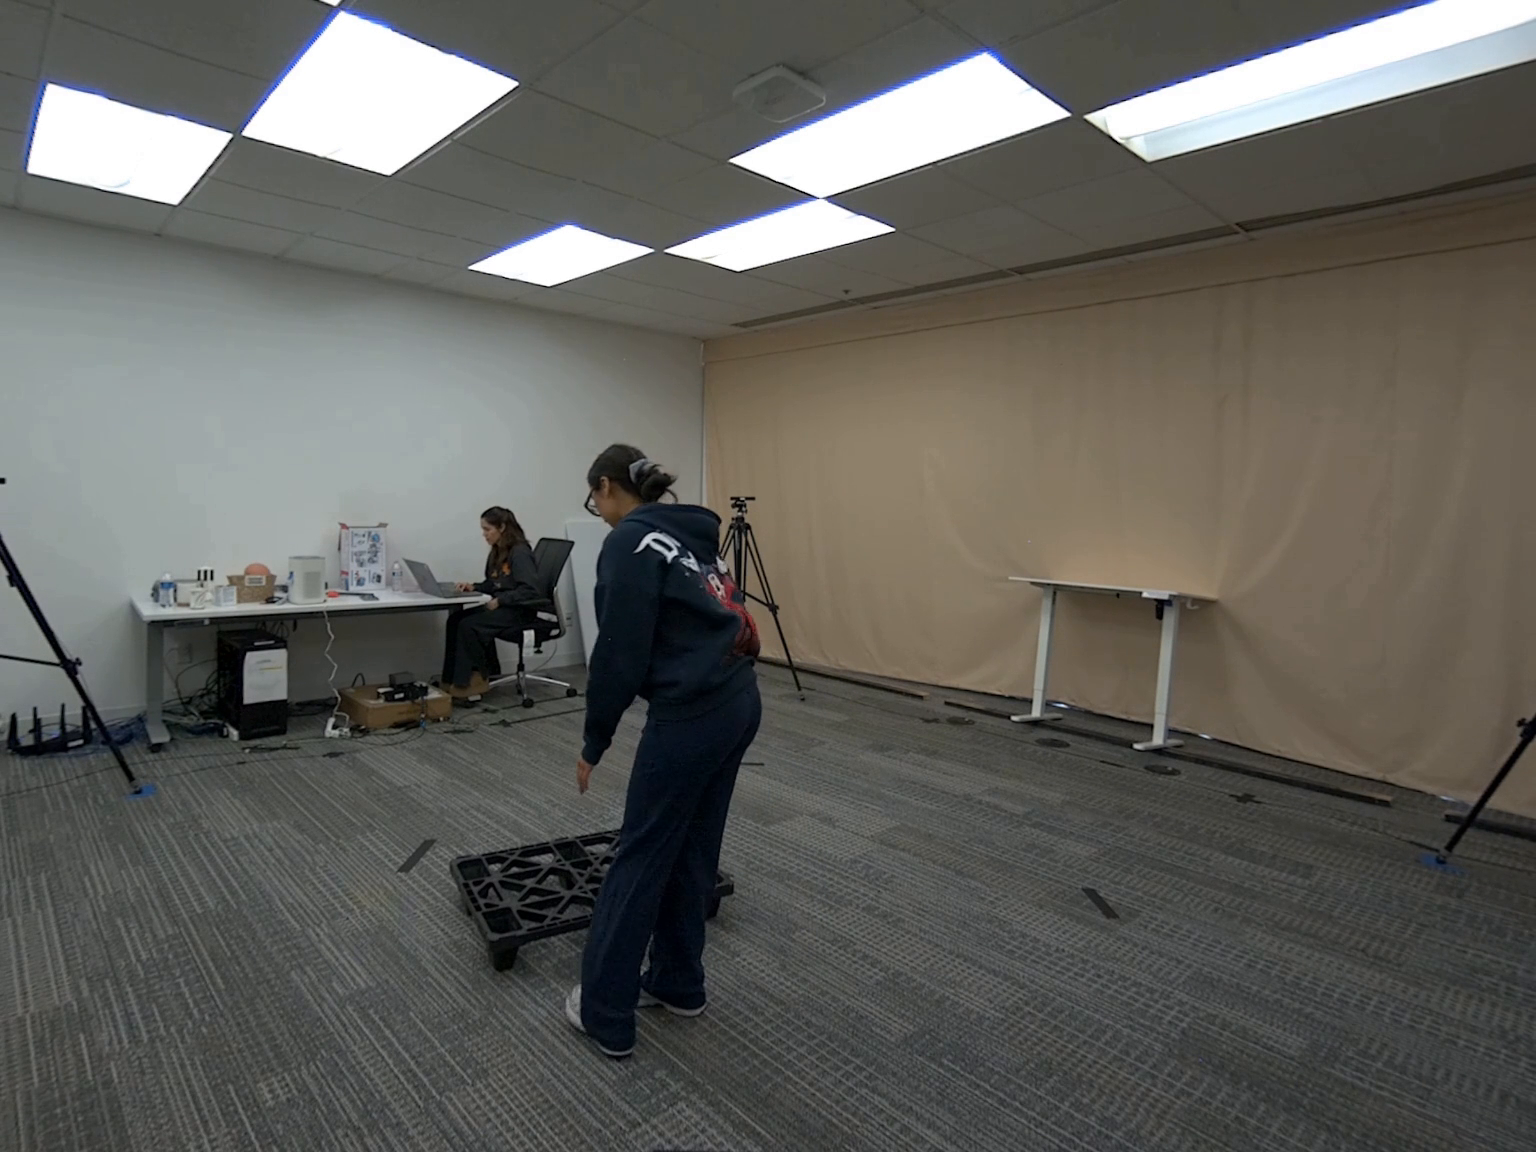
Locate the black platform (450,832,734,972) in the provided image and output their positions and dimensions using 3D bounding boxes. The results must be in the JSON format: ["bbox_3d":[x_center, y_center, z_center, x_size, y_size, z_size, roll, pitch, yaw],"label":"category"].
[{"bbox_3d":[-0.599,1.056,2.817,0.789,0.143,0.619,-2,7,-31],"label":"black platform"}]
